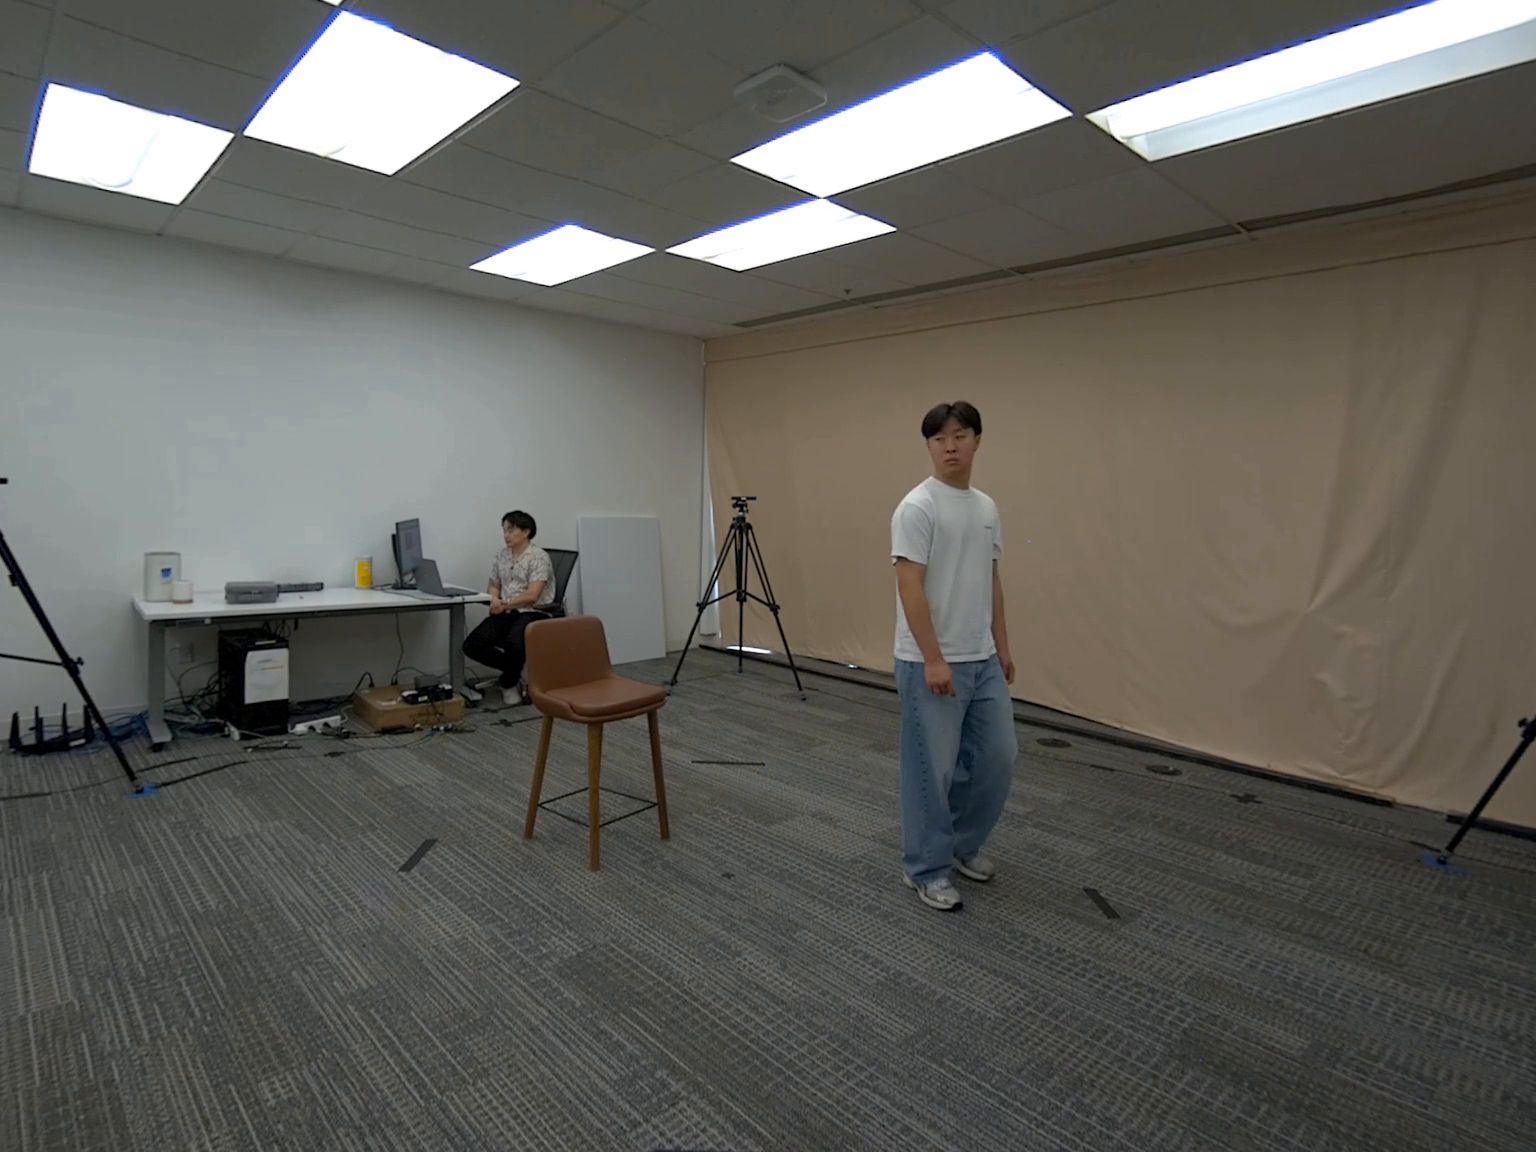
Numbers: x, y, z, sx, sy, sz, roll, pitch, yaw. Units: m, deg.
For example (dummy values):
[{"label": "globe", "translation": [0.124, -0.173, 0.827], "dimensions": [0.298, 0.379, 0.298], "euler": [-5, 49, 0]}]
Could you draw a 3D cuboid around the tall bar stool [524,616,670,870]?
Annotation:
[{"label": "tall bar stool", "translation": [-0.696, 0.631, 3.395], "dimensions": [0.479, 0.889, 0.446], "euler": [1, 2, 39]}]
